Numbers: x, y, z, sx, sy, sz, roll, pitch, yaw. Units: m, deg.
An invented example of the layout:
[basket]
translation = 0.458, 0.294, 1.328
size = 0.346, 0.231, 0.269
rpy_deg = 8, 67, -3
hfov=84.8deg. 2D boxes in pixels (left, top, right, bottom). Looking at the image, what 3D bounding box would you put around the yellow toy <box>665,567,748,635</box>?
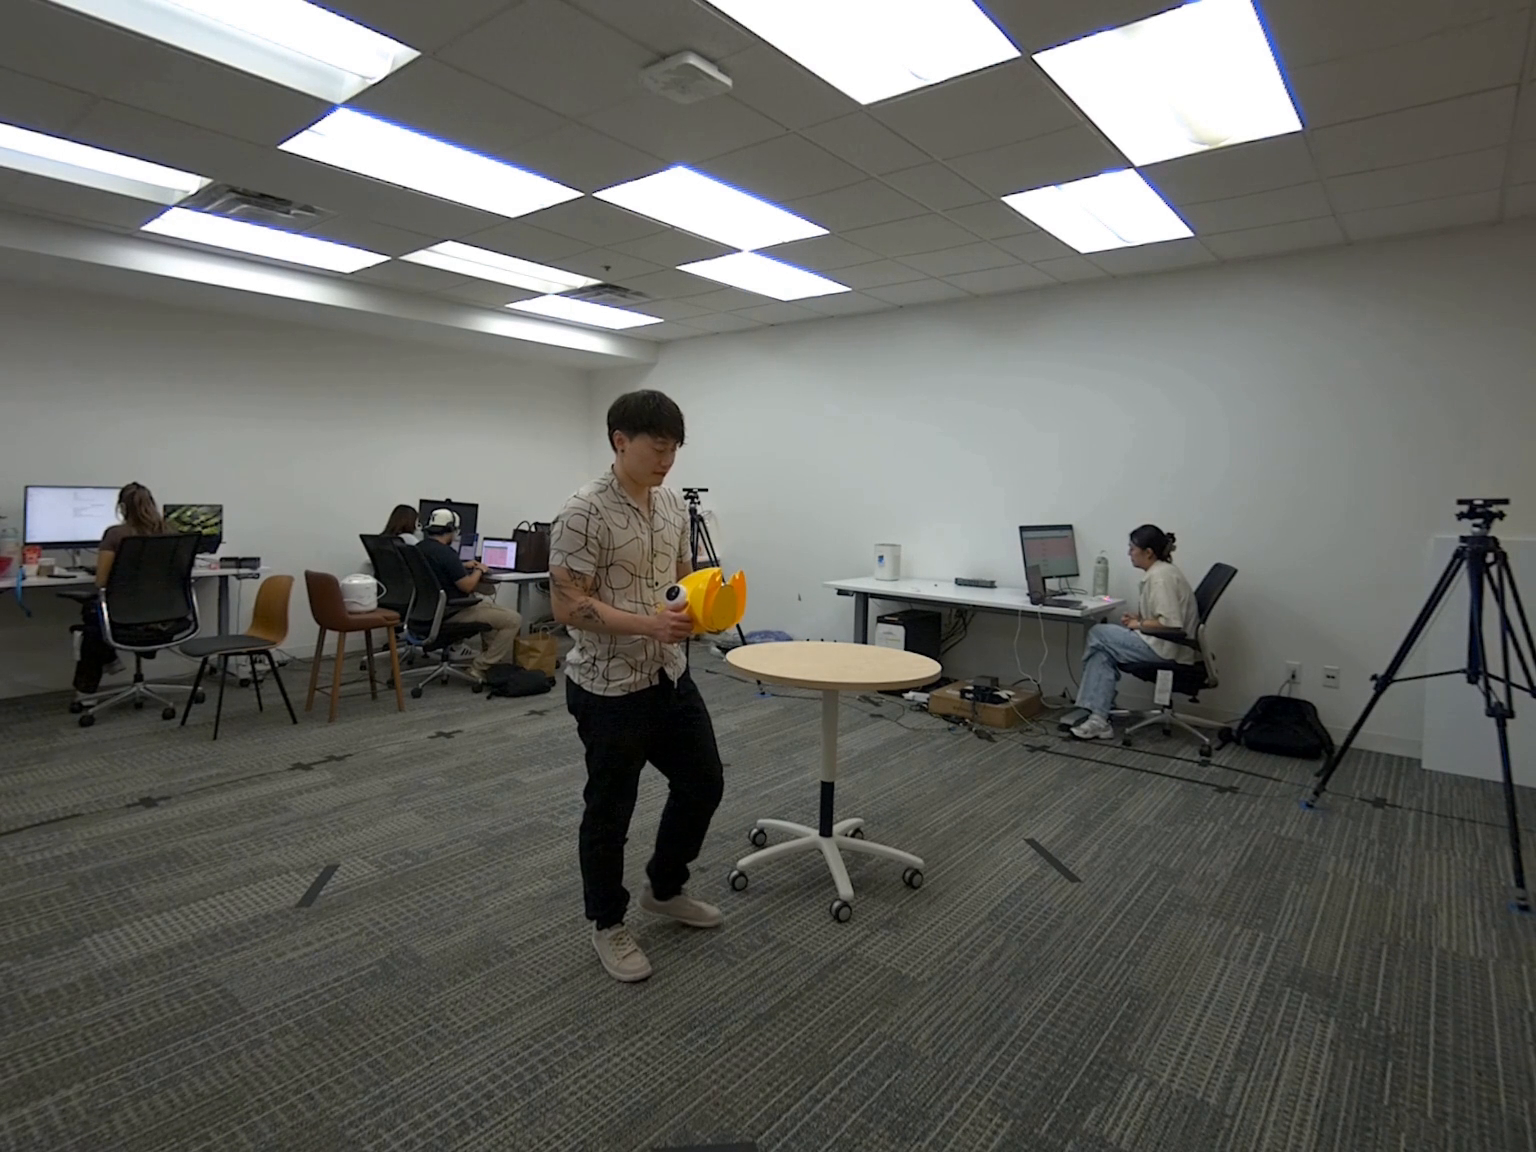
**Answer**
[yellow toy]
translation = -0.217, 0.059, 2.334
size = 0.238, 0.192, 0.199
rpy_deg = 10, 7, 34
